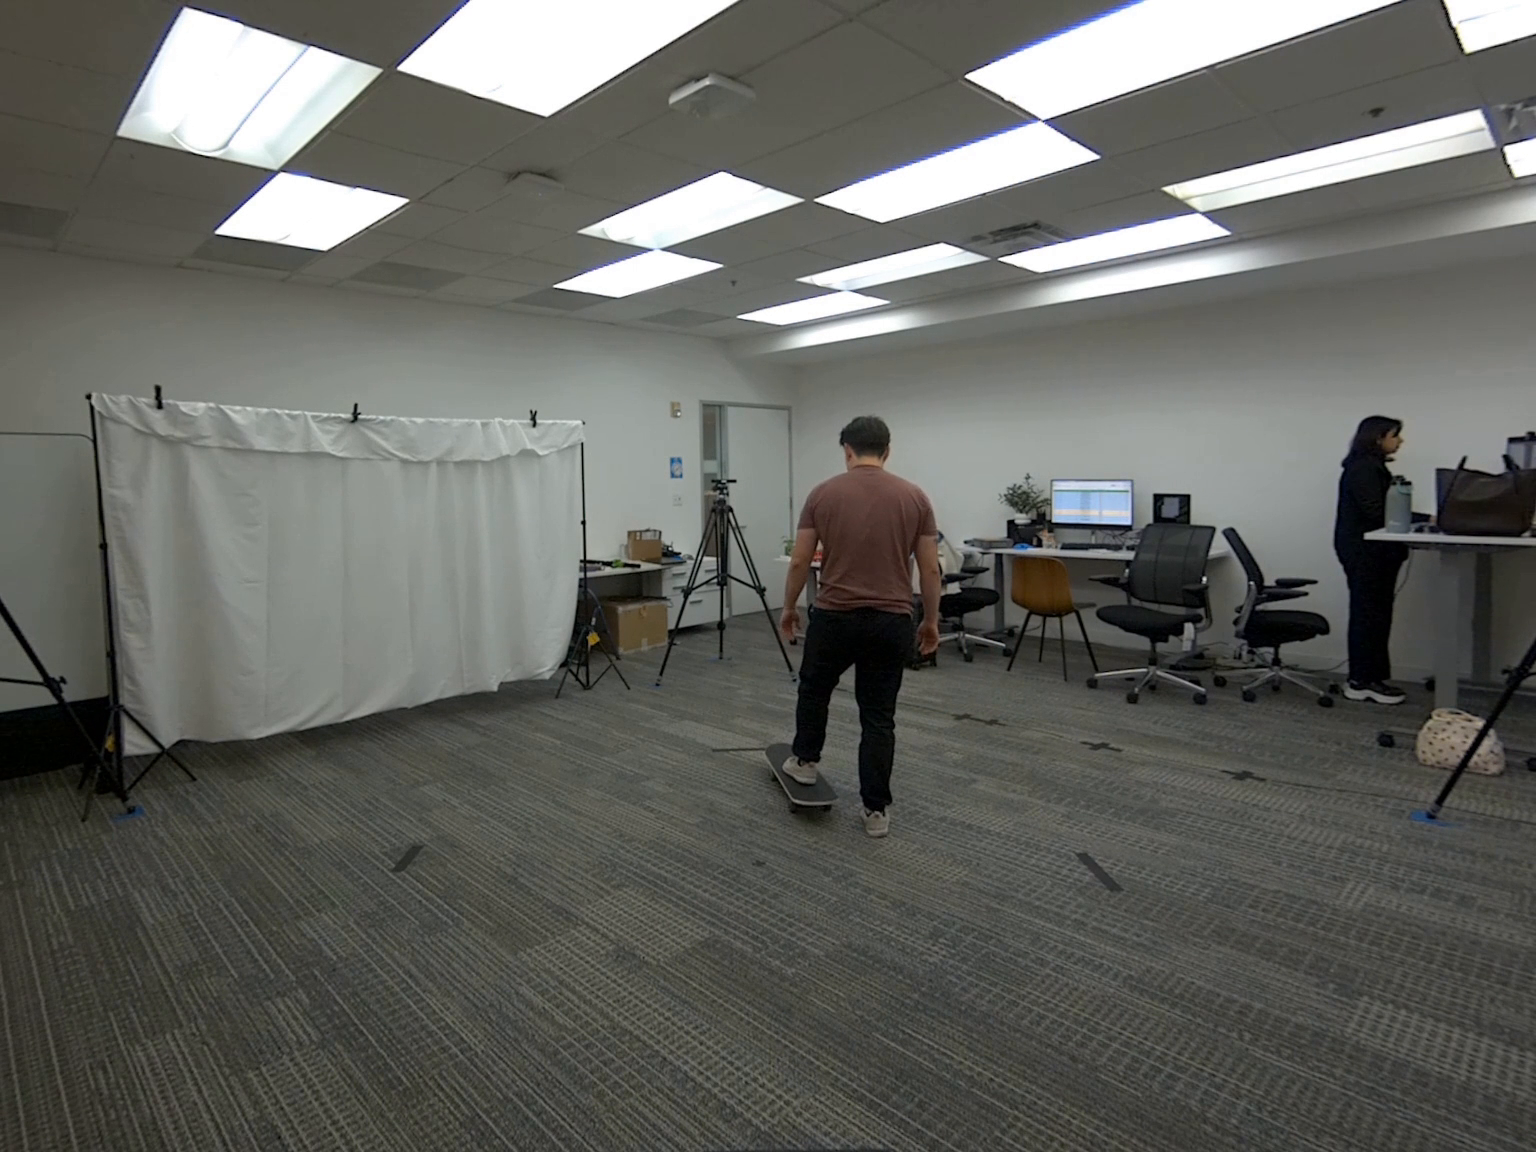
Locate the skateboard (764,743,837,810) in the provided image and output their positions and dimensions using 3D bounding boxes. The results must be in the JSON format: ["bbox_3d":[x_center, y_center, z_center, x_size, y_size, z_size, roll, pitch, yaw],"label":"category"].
[{"bbox_3d":[0.141,0.913,3.785,0.191,0.110,0.796,-2,6,-12],"label":"skateboard"}]
